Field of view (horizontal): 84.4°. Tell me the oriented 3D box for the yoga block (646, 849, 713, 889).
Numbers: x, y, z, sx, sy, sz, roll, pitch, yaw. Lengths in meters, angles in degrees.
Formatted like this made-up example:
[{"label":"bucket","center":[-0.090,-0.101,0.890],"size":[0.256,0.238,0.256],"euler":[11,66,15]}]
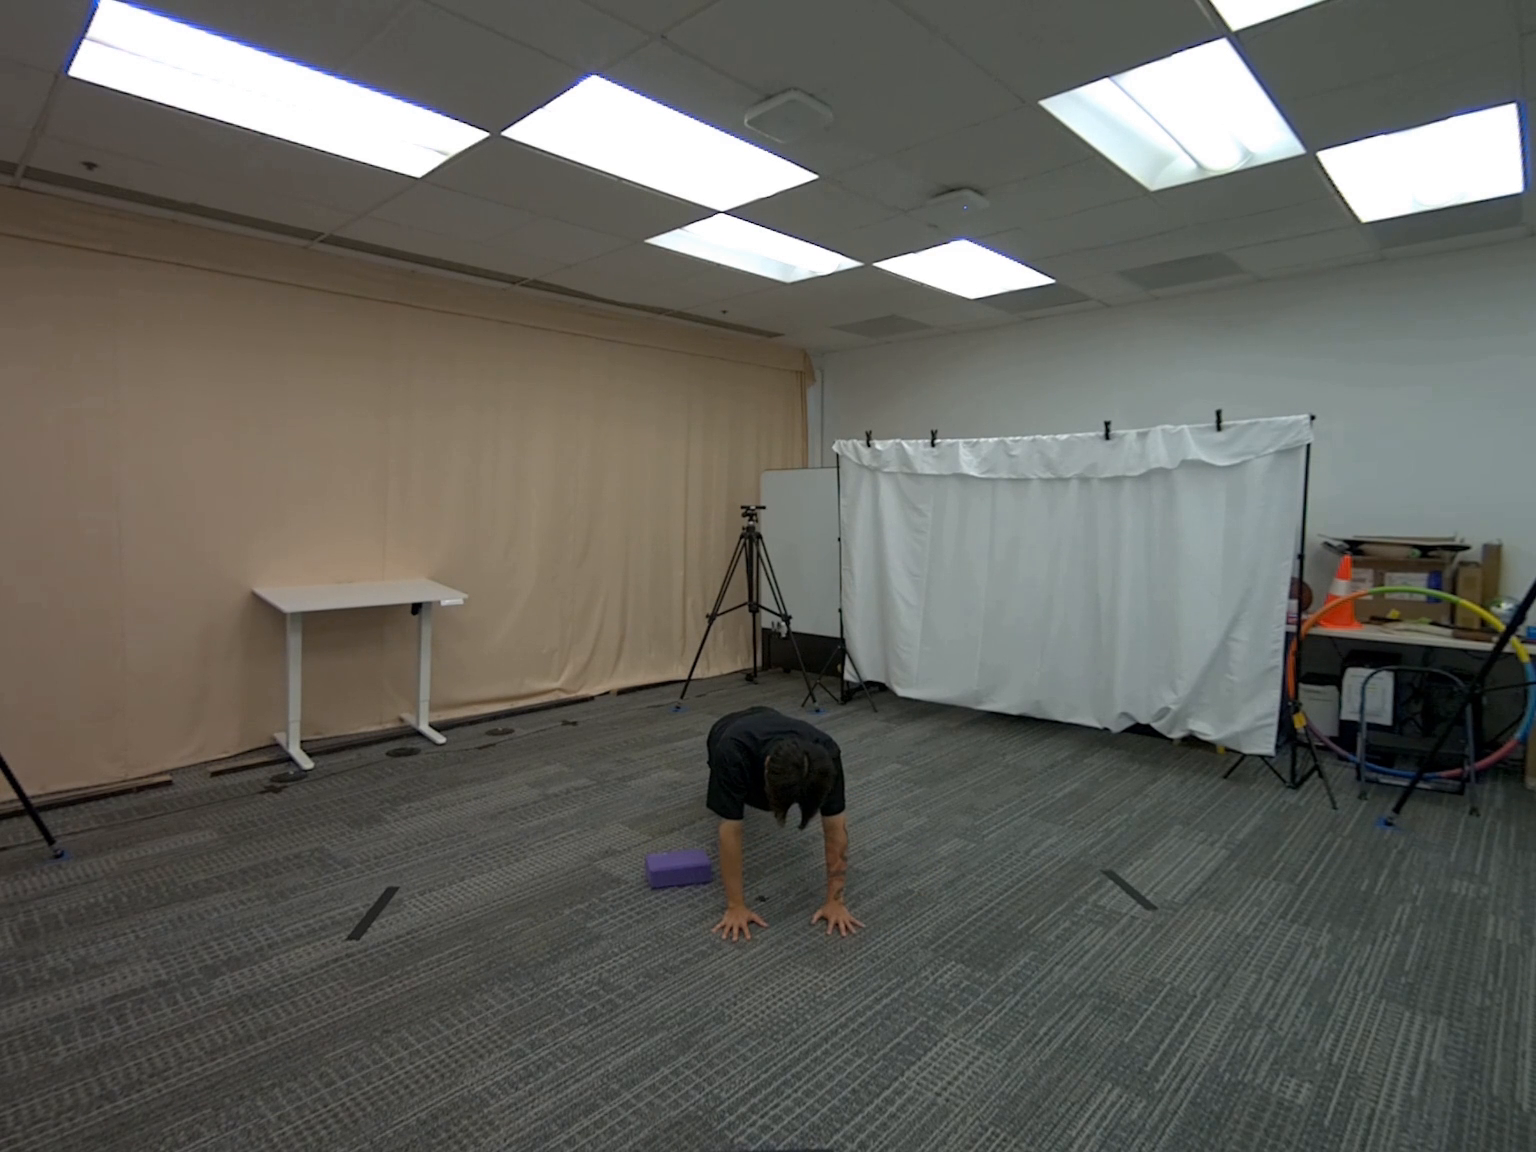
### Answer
[{"label":"yoga block","center":[-0.339,1.092,3.148],"size":[0.226,0.076,0.152],"euler":[-1,5,-15]}]
